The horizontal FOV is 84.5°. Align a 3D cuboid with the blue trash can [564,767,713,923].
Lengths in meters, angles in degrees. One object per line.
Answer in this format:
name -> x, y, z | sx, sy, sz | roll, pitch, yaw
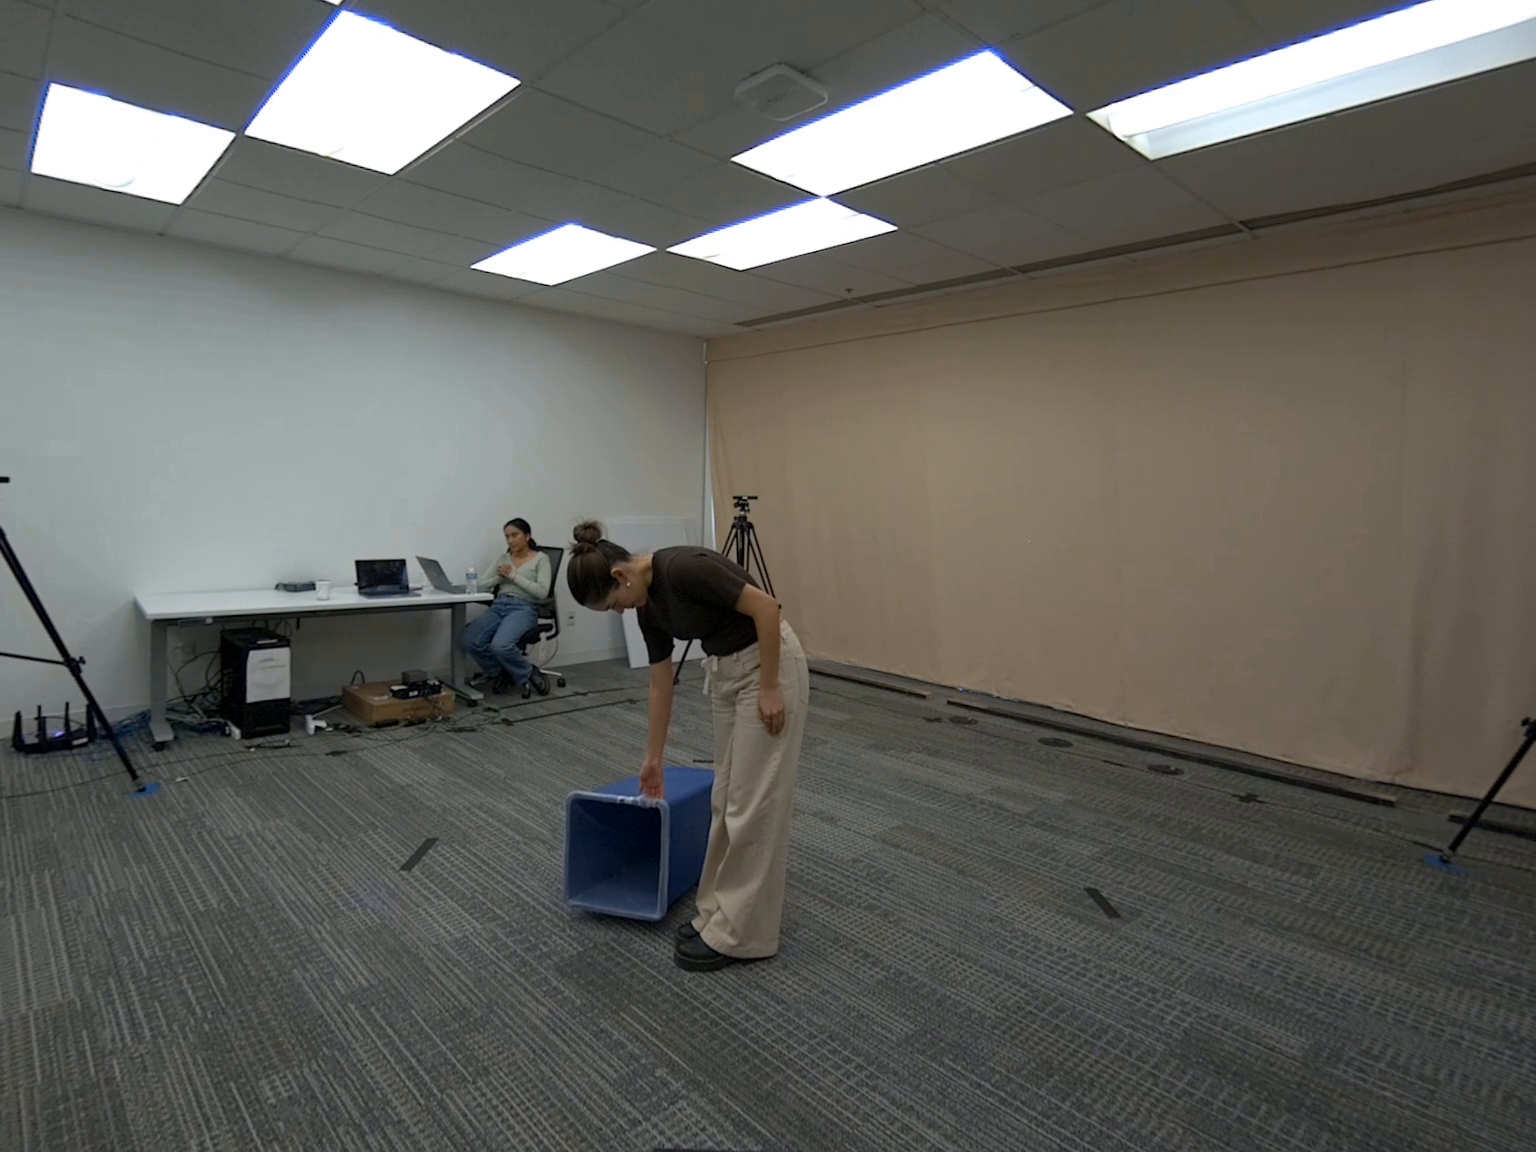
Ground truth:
blue trash can -> -0.397, 0.915, 3.032 | 0.384, 0.375, 0.700 | 1, -2, 21
